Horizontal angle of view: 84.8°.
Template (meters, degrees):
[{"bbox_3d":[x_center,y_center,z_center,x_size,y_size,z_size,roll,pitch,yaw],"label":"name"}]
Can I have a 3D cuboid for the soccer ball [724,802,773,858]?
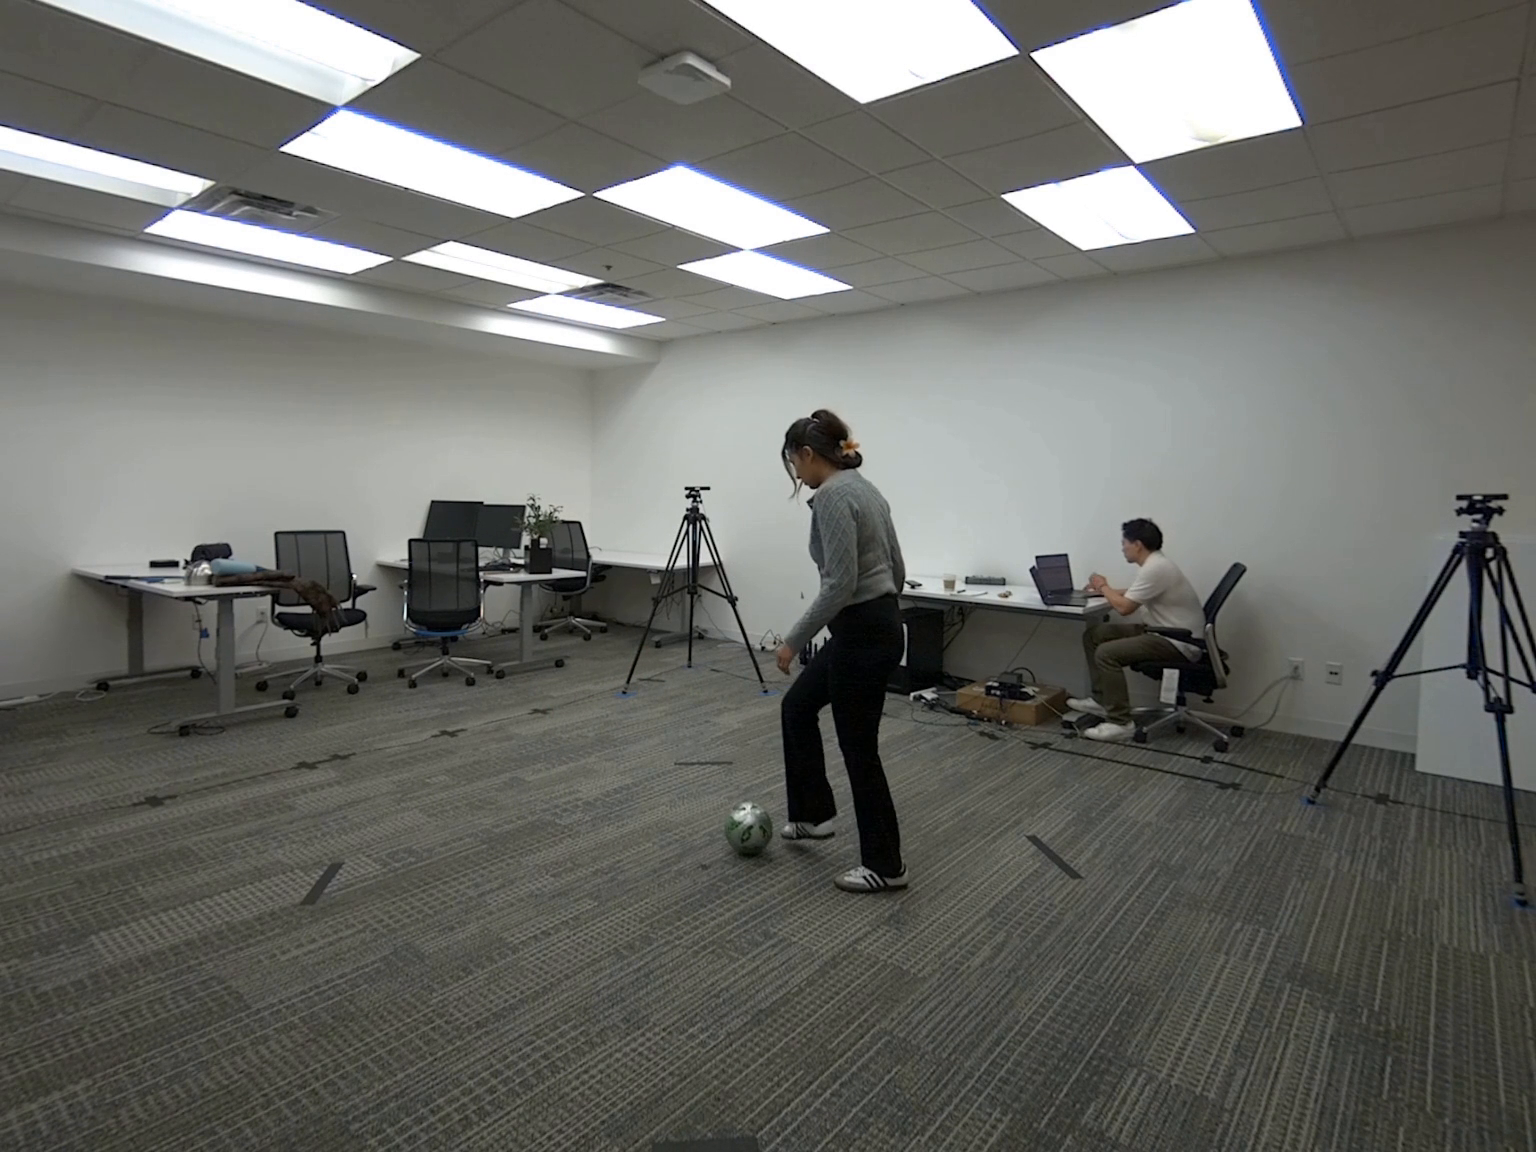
[{"bbox_3d":[-0.085,0.960,3.250,0.187,0.187,0.188,1,4,-2],"label":"soccer ball"}]
